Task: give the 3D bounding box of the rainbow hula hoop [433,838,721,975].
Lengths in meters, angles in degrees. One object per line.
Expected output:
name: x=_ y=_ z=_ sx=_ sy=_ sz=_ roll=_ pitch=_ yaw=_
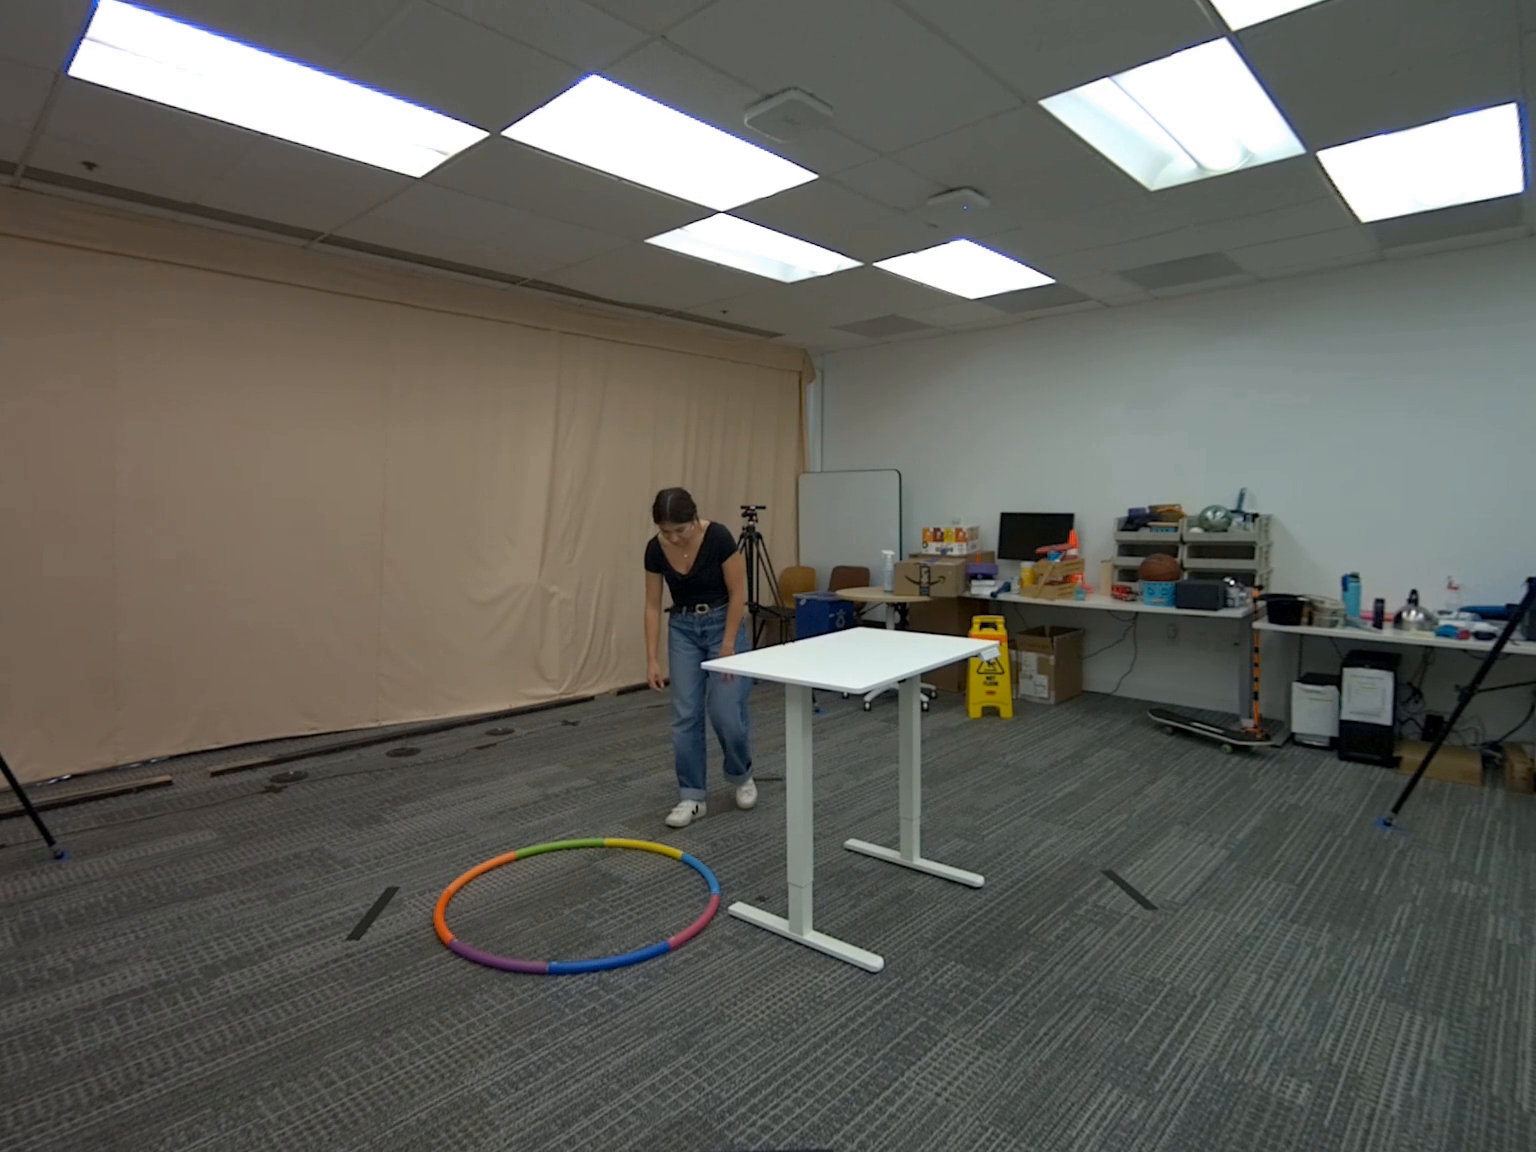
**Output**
rainbow hula hoop: x=-0.653 y=1.119 z=2.980 sx=0.978 sy=0.035 sz=0.982 roll=0 pitch=5 yaw=-2
